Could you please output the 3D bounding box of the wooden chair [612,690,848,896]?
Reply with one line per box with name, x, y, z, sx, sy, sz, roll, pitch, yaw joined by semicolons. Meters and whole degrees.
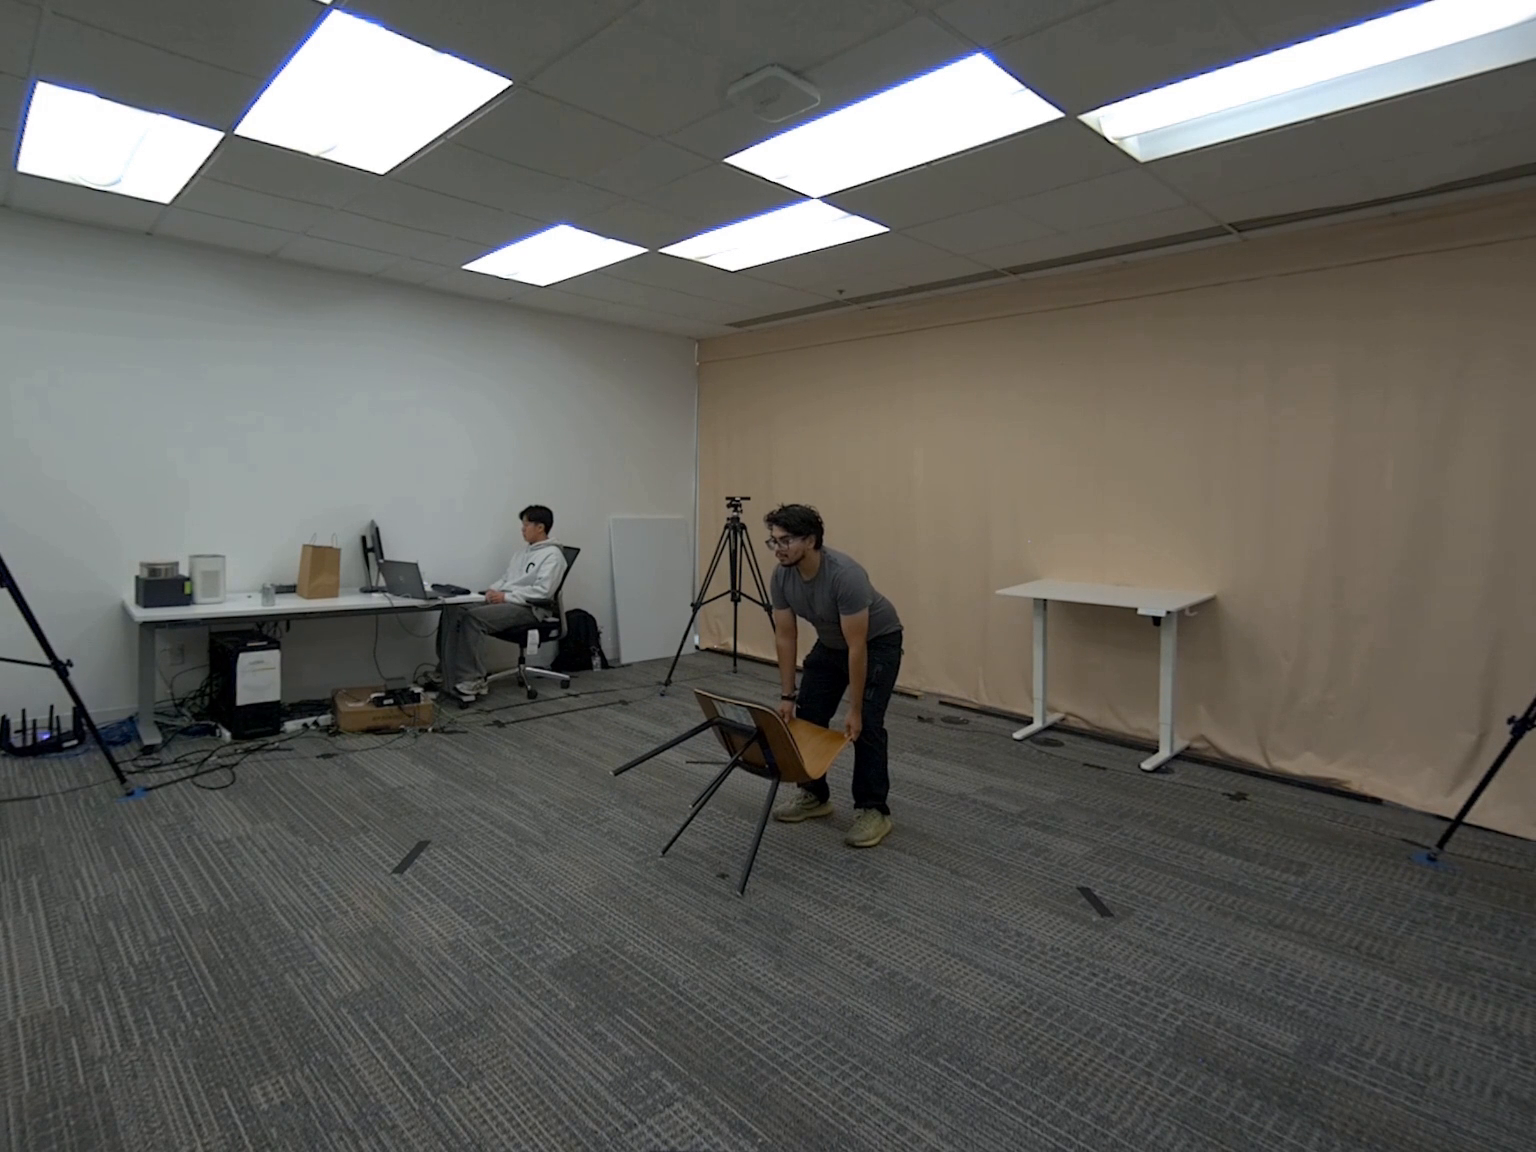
wooden chair;-0.094;0.667;3.238;0.490;0.512;0.873;5;34;44
